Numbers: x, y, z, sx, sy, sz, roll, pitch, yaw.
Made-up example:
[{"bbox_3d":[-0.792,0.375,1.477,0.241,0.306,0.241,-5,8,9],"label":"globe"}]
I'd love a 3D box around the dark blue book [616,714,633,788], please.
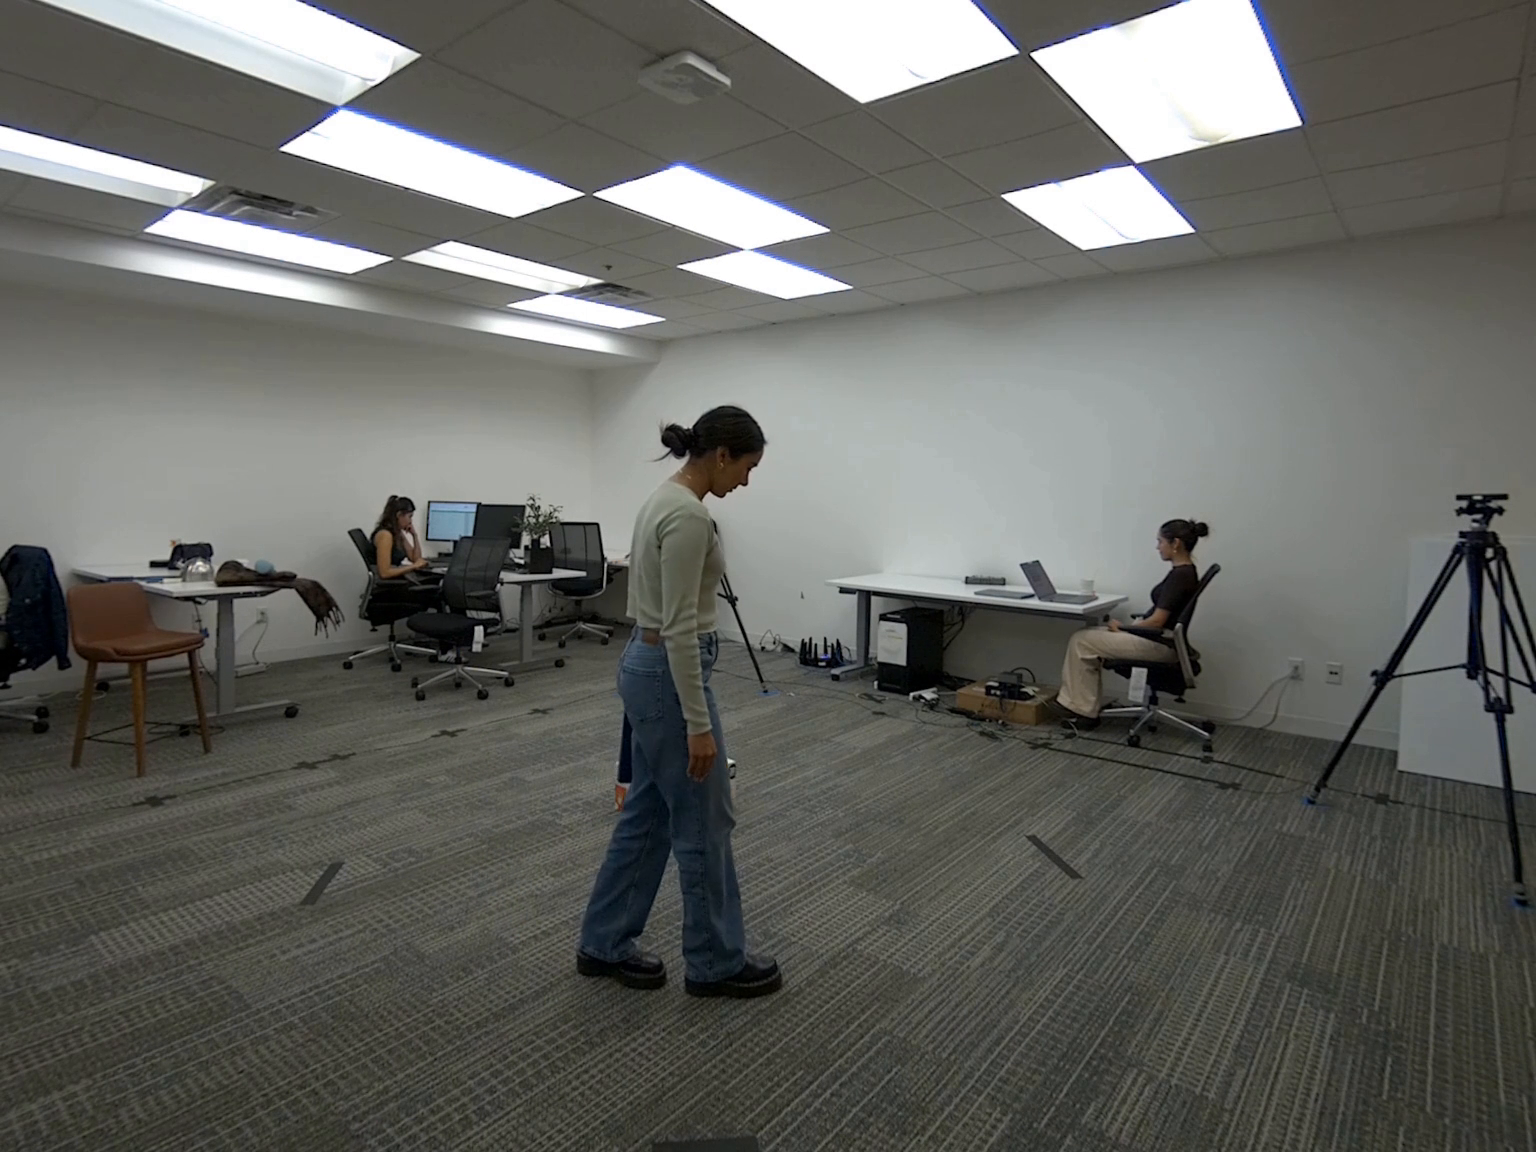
[{"bbox_3d":[-0.364,0.507,2.584,0.160,0.245,0.046,3,1,-17],"label":"dark blue book"}]
